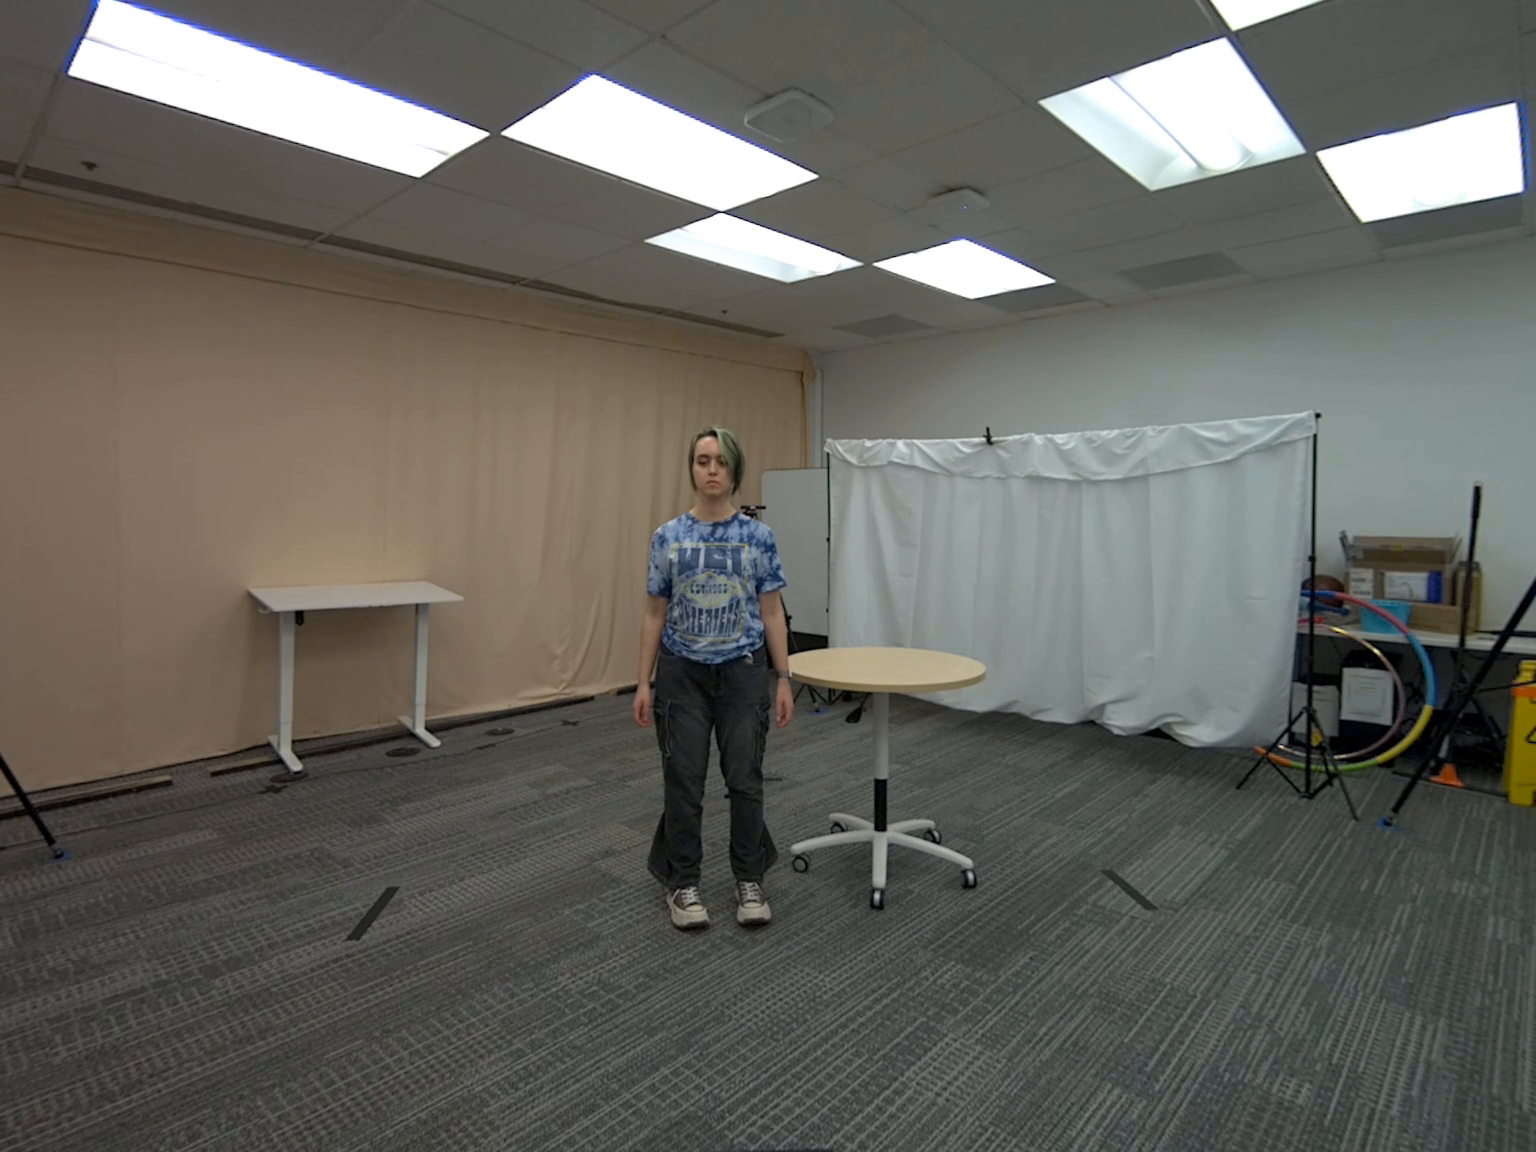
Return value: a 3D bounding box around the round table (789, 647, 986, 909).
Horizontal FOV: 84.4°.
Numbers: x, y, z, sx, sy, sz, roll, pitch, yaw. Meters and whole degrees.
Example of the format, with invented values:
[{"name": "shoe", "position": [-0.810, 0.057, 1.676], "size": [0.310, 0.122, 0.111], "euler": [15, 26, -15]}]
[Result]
[{"name": "round table", "position": [0.435, 0.731, 3.236], "size": [0.763, 0.792, 0.766], "euler": [0, 3, -2]}]
